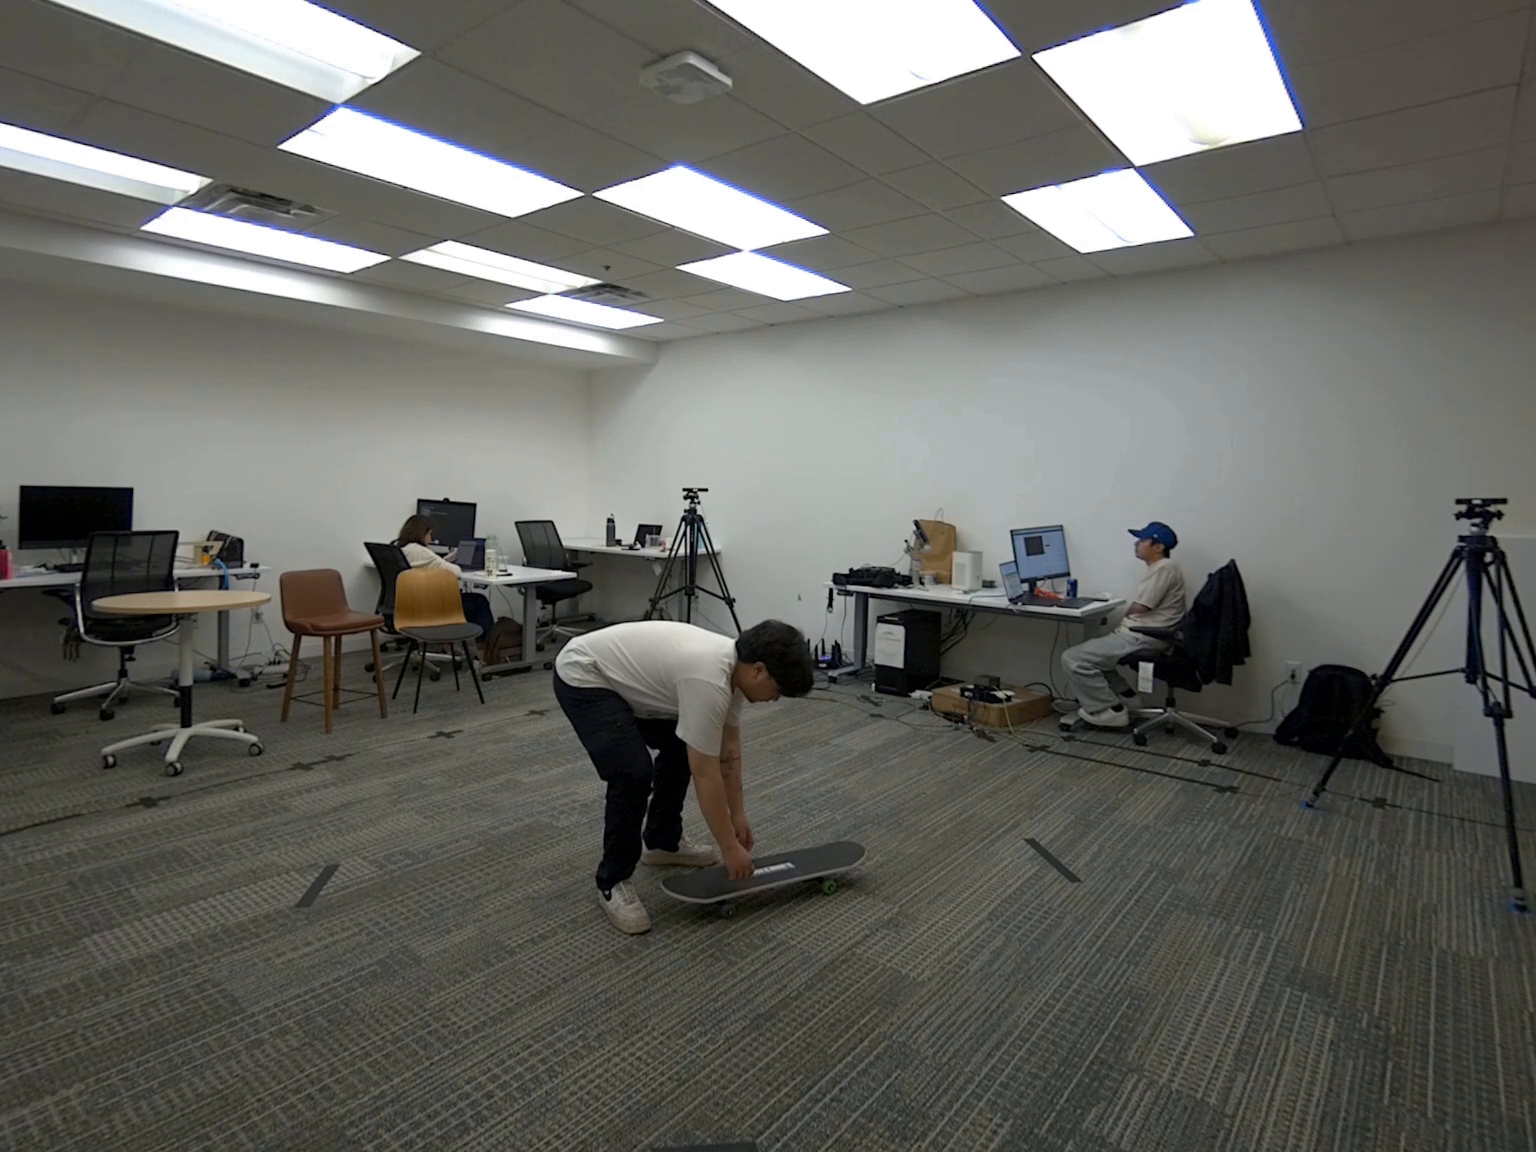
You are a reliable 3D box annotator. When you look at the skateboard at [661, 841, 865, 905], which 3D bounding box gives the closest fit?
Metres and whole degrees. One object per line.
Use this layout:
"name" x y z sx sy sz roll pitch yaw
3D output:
"skateboard" -0.006 1.036 2.916 0.766 0.110 0.199 -2 7 -27
